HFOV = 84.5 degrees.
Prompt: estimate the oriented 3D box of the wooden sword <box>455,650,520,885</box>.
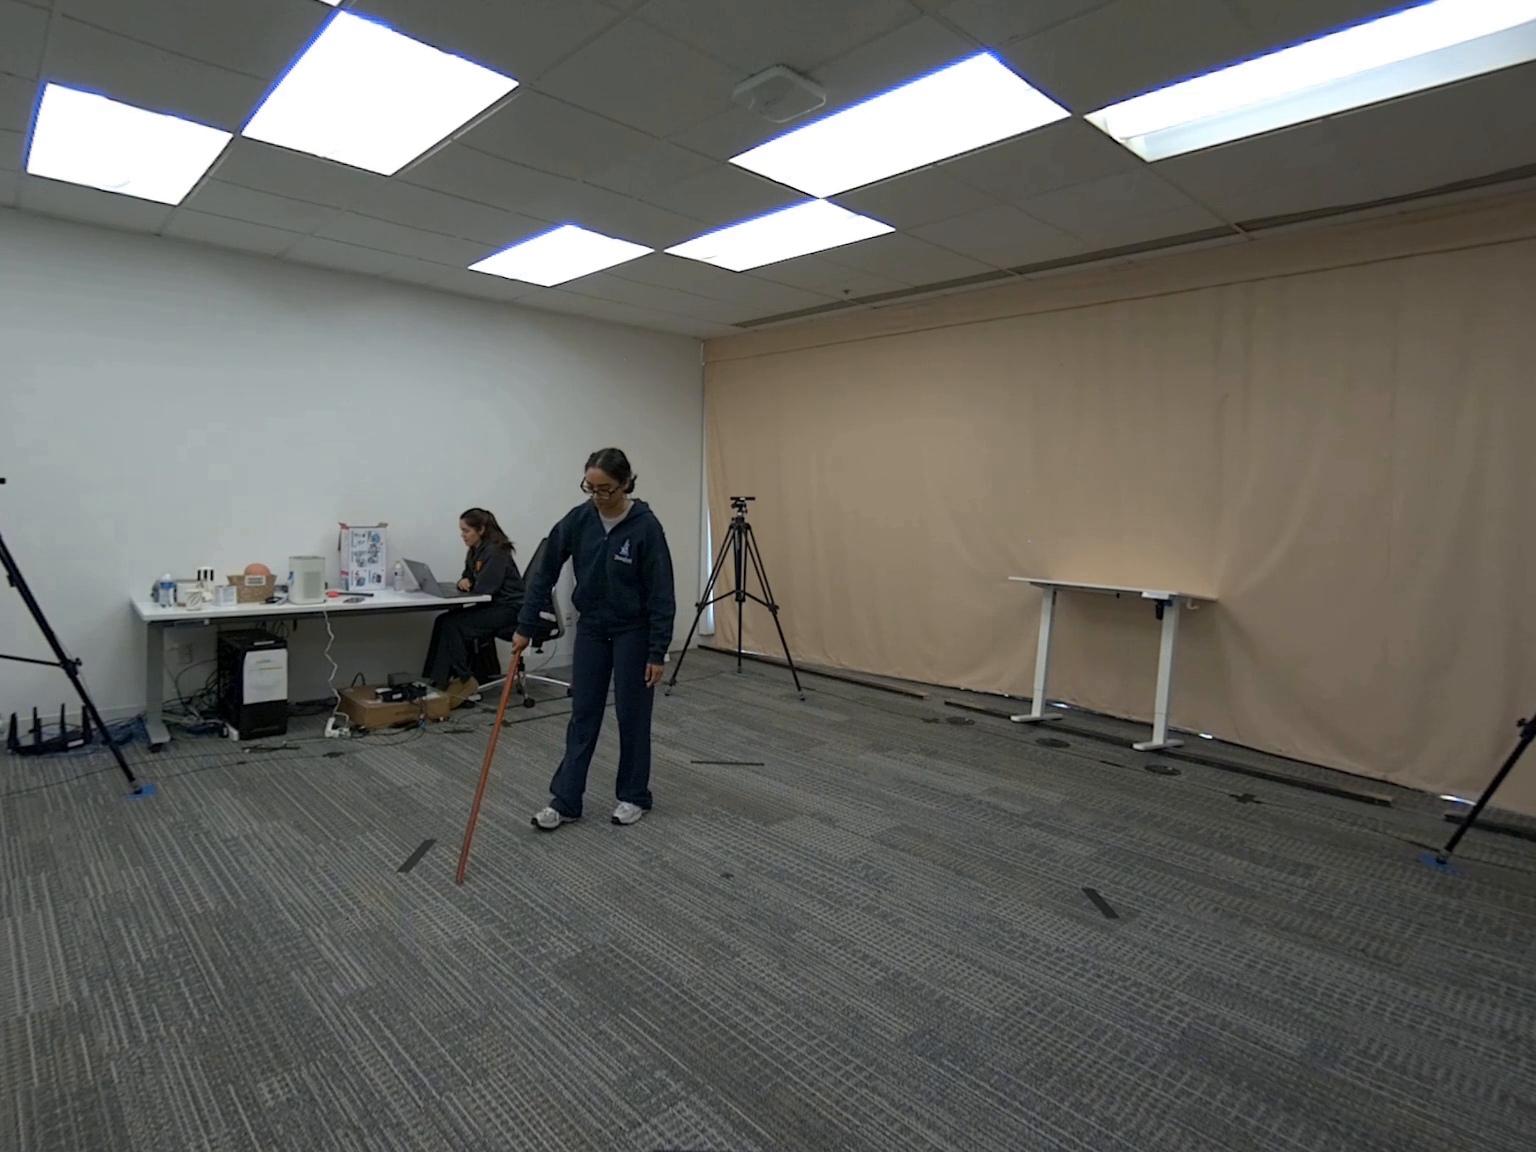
[{"bbox_3d":[-1.099,0.679,3.294,0.052,1.046,0.023,-21,-42,26],"label":"wooden sword"}]
